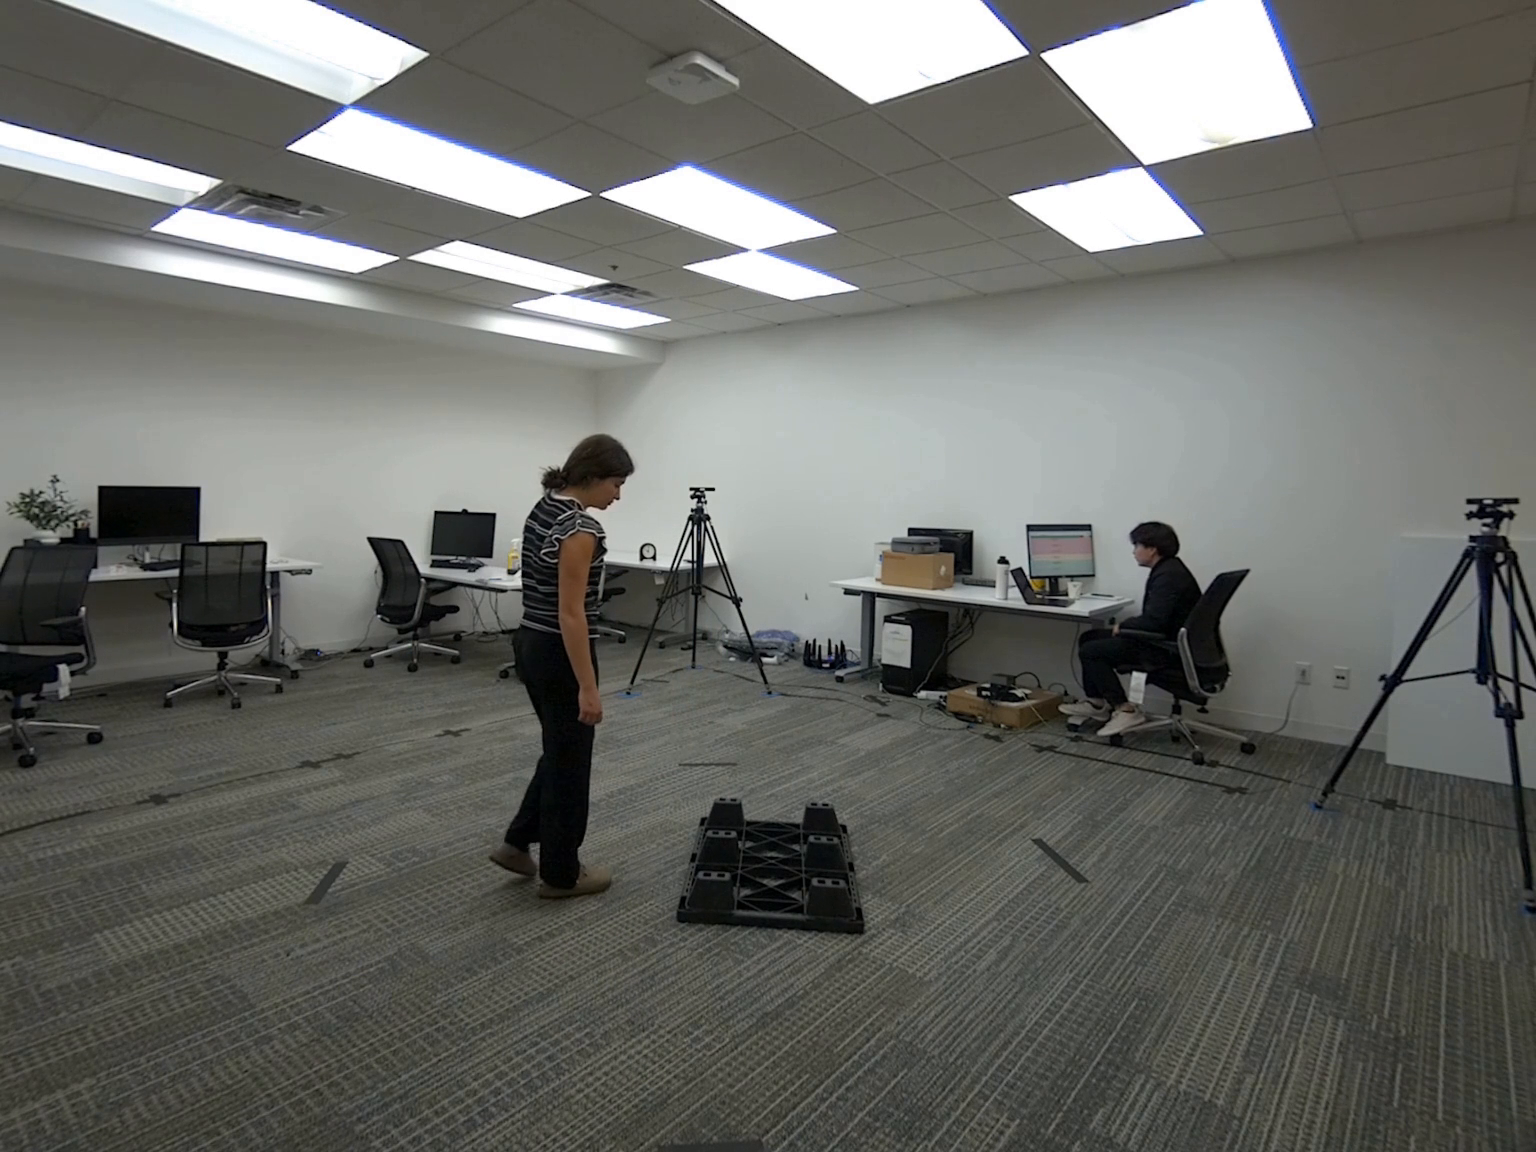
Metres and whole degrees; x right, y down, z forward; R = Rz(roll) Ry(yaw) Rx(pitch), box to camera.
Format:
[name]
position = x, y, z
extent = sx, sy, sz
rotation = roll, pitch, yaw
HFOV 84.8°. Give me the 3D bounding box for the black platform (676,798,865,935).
[black platform]
position = 0.010, 1.005, 3.080
extent = 0.607, 0.143, 0.806
rotation = 1, 6, 2
